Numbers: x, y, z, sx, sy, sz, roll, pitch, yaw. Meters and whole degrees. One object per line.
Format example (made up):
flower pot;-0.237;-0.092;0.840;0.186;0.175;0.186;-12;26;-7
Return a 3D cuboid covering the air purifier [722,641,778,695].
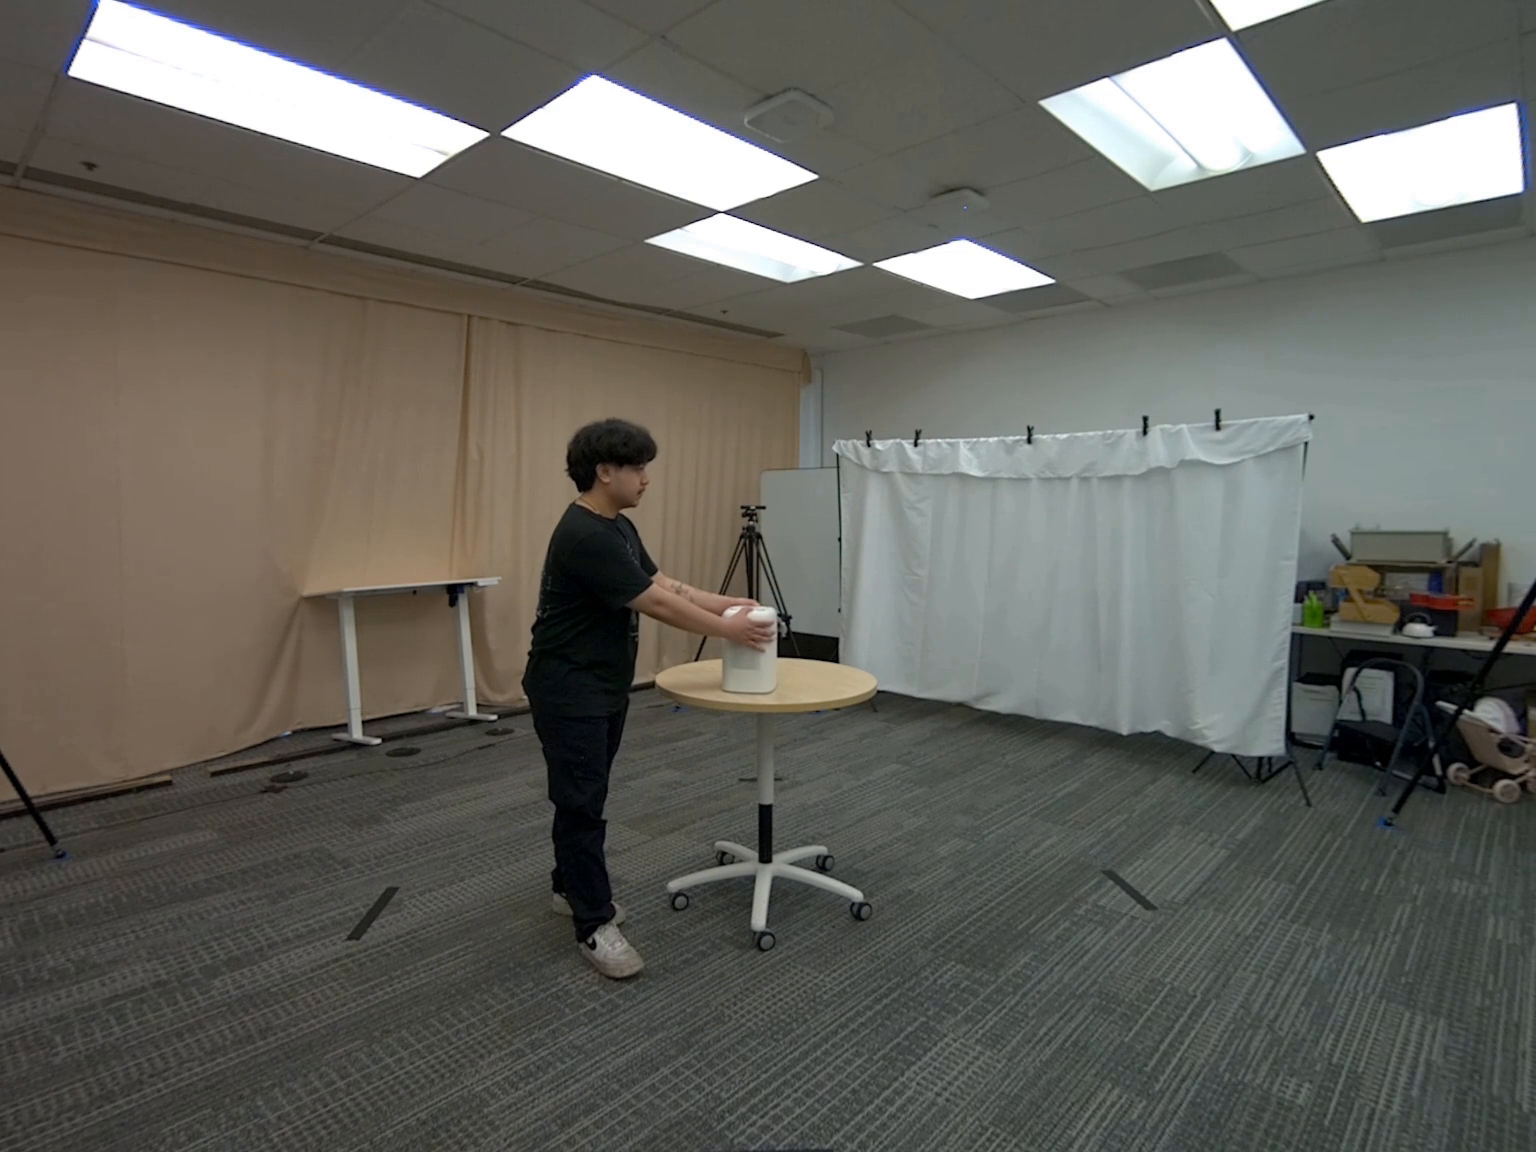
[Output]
air purifier;-0.059;0.242;2.752;0.174;0.264;0.169;1;6;12
